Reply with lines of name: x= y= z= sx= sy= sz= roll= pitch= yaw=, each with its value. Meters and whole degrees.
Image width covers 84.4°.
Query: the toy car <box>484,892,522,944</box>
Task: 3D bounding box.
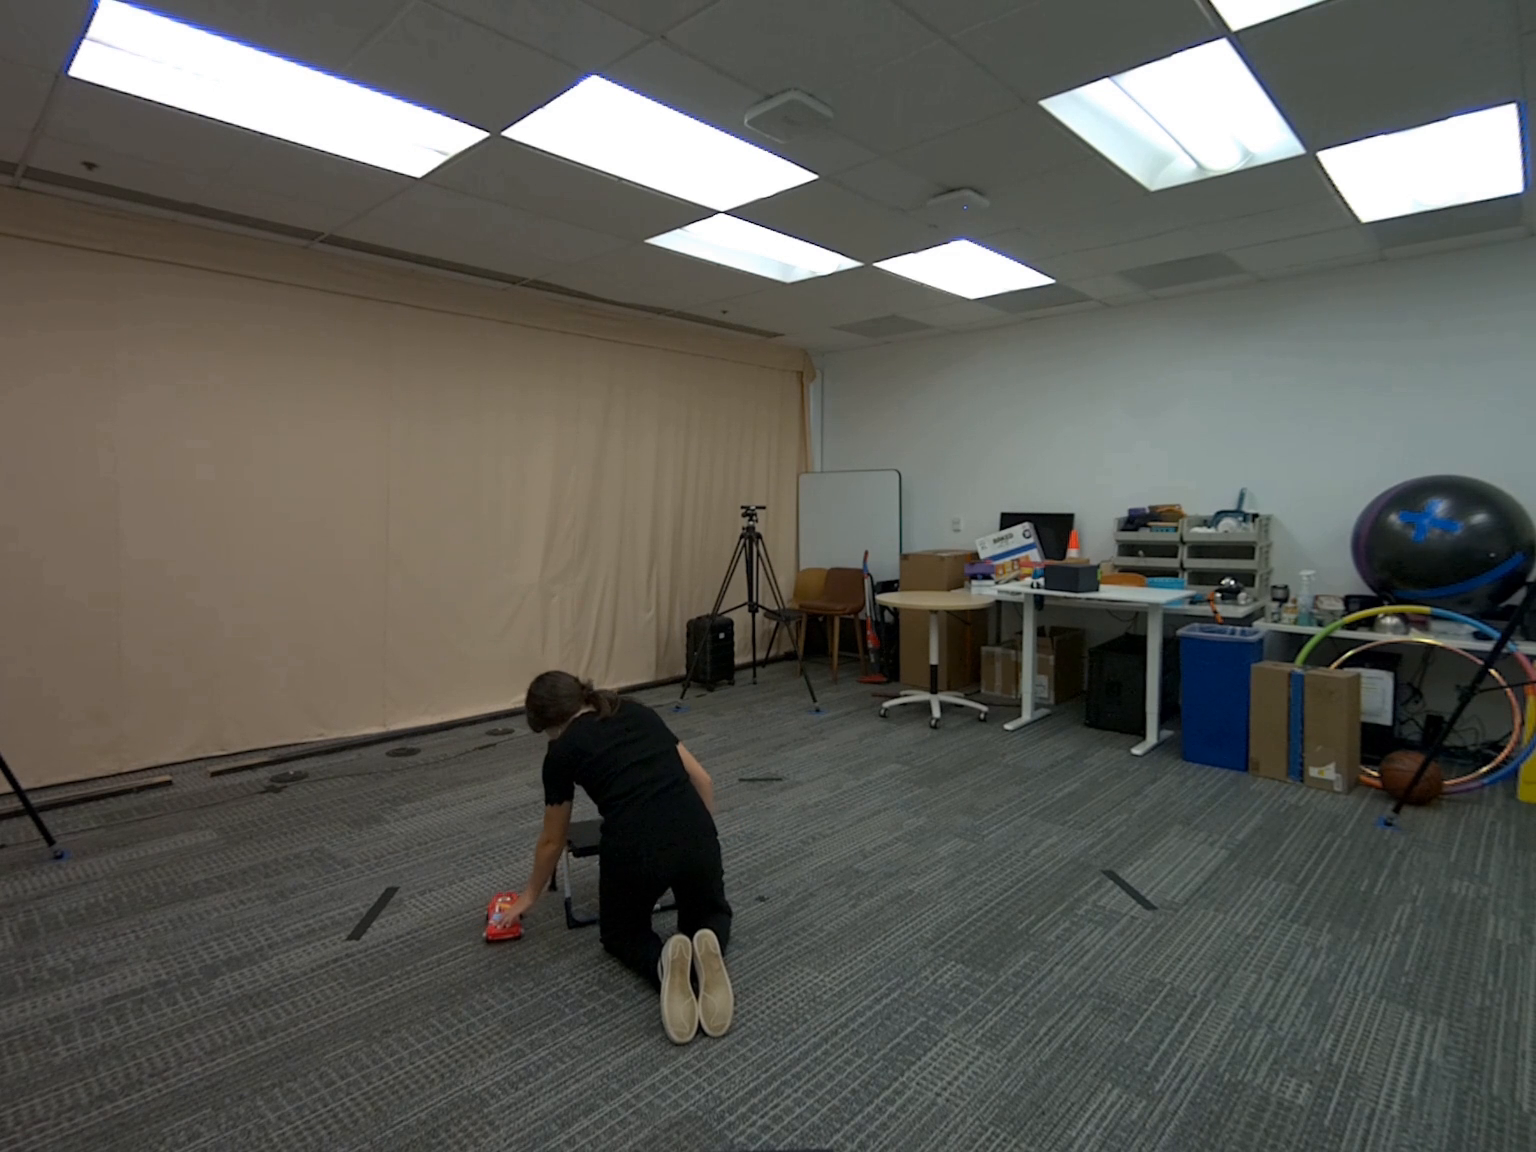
toy car: x=-0.873 y=1.138 z=2.795 sx=0.128 sy=0.082 sz=0.261 roll=-6 pitch=16 yaw=-17
